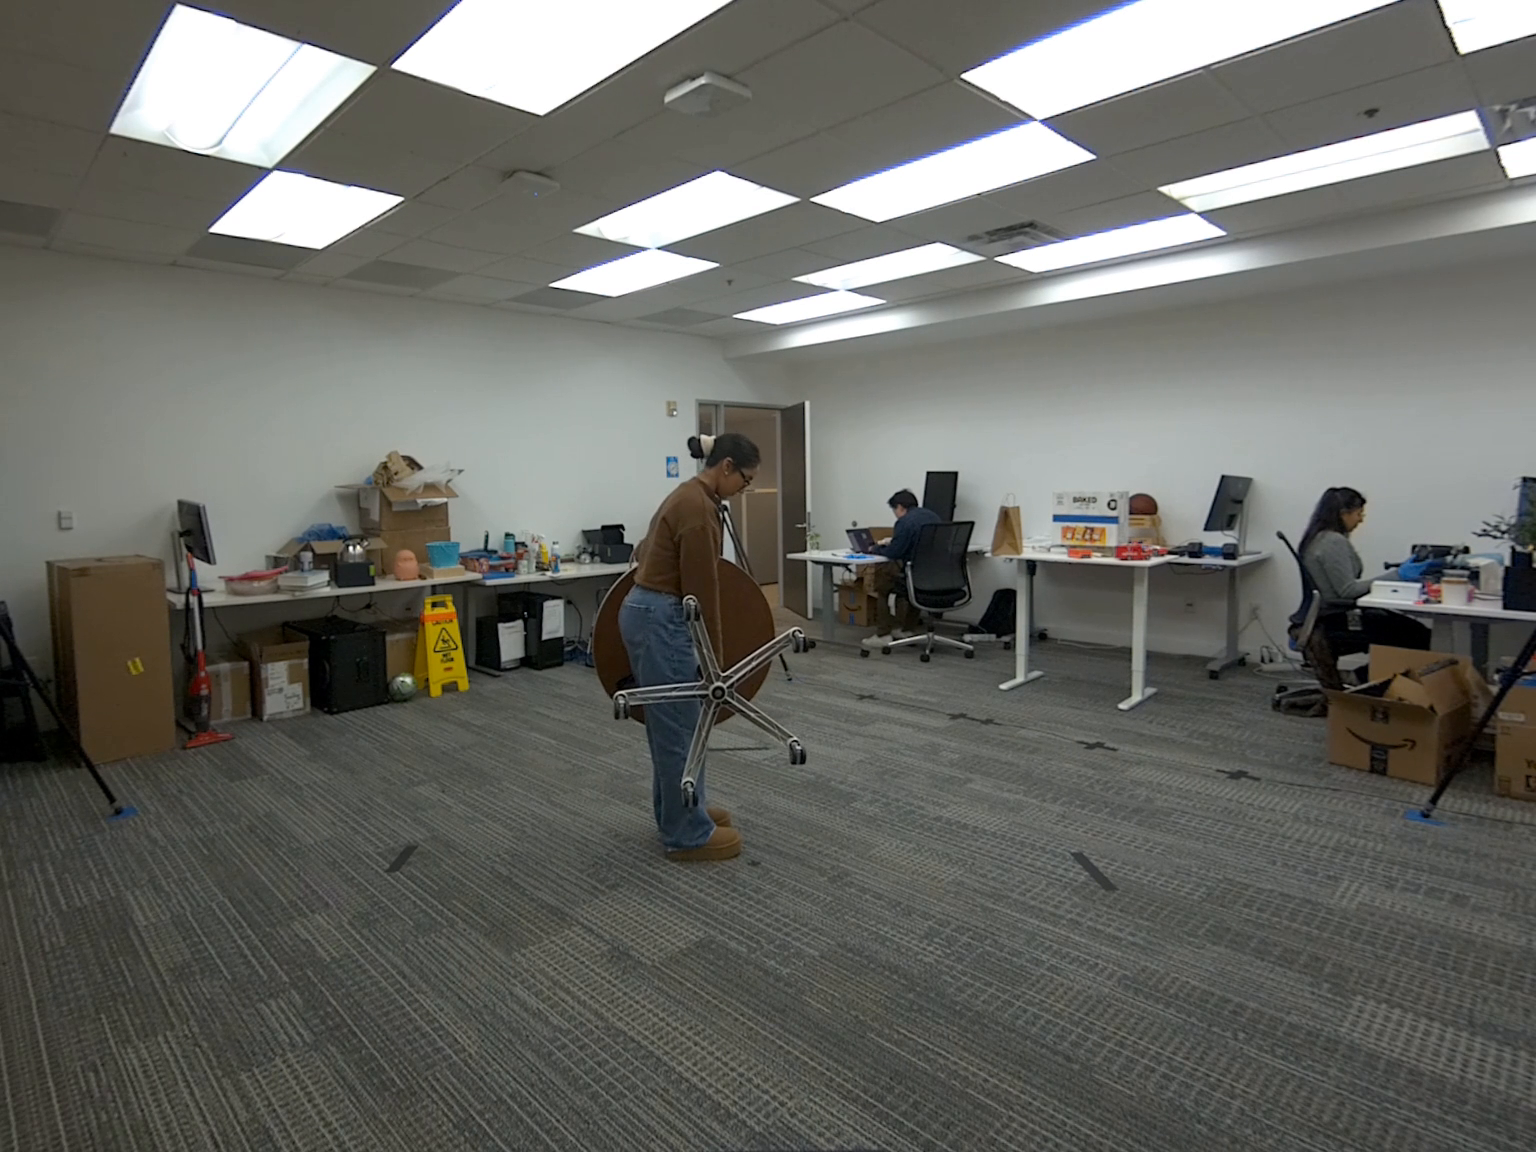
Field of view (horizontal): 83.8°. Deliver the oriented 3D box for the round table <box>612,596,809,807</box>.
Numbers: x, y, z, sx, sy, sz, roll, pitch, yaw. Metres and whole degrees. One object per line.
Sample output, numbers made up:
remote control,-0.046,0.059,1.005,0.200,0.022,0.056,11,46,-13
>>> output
round table,-0.243,0.349,3.164,0.755,0.758,0.810,-2,10,-13
